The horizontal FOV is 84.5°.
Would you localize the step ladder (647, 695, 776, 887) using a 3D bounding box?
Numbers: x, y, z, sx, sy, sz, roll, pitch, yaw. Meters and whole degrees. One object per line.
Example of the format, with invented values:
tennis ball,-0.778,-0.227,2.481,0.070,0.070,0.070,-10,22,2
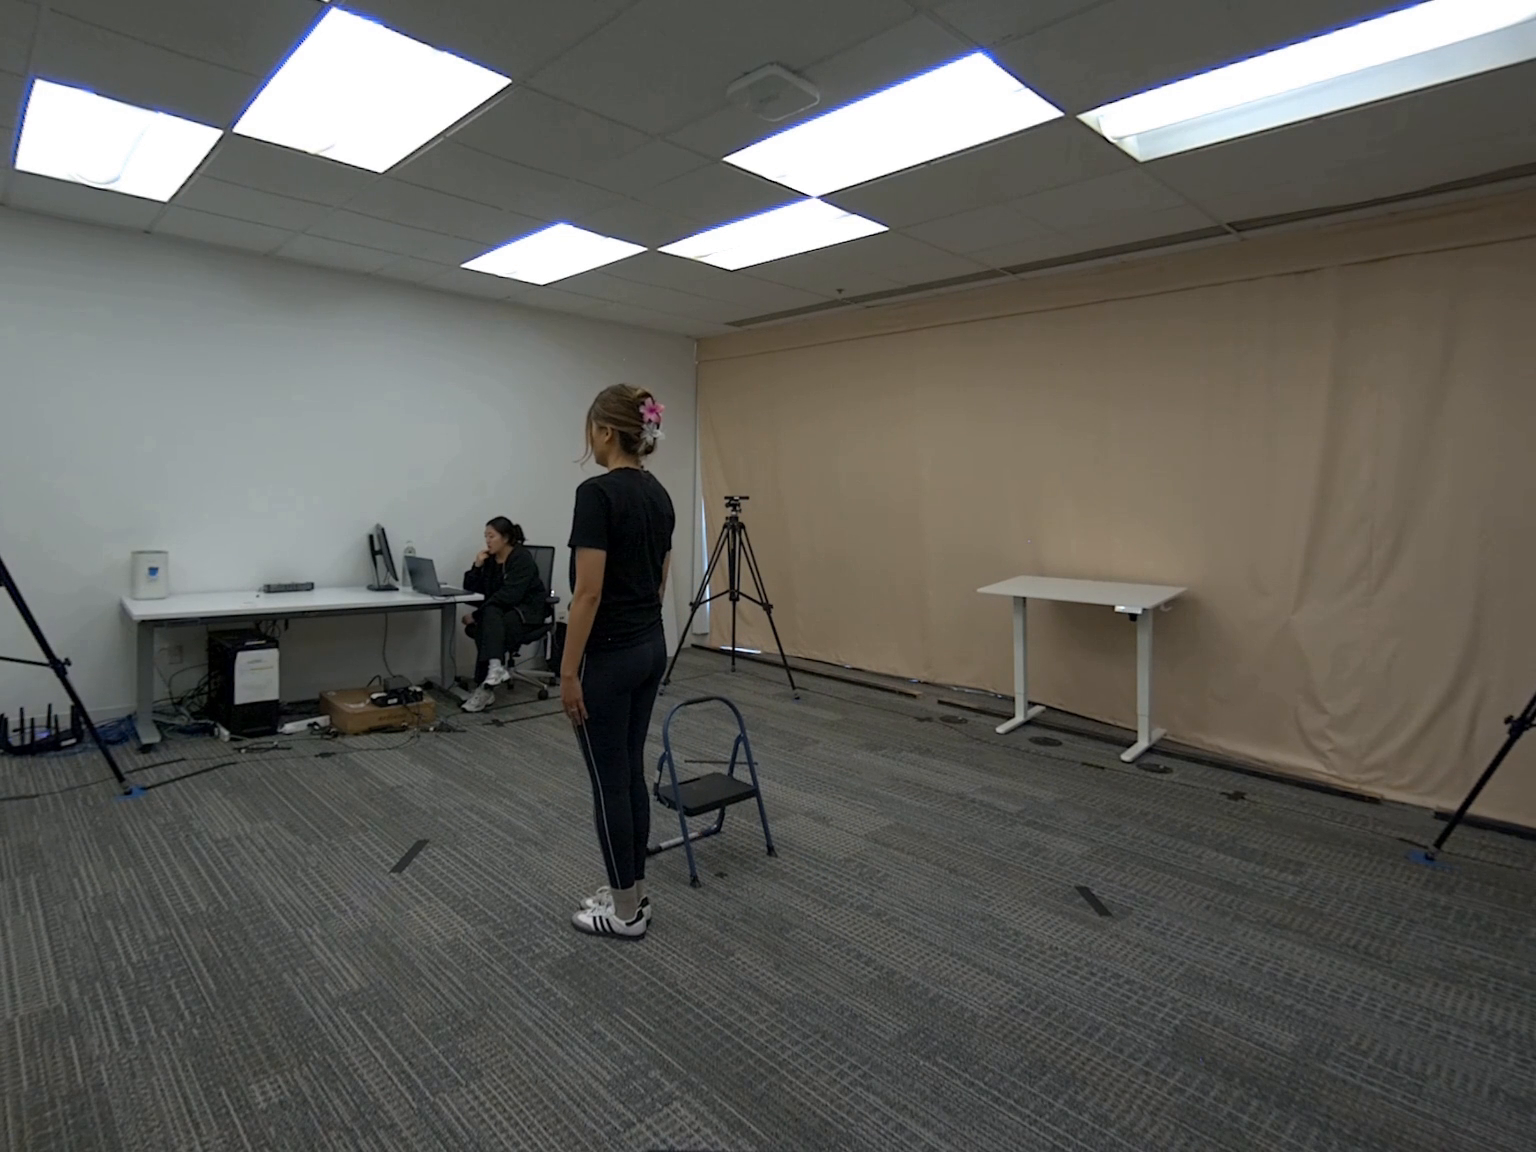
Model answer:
step ladder,-0.230,0.784,3.251,0.358,0.605,0.421,5,5,44
